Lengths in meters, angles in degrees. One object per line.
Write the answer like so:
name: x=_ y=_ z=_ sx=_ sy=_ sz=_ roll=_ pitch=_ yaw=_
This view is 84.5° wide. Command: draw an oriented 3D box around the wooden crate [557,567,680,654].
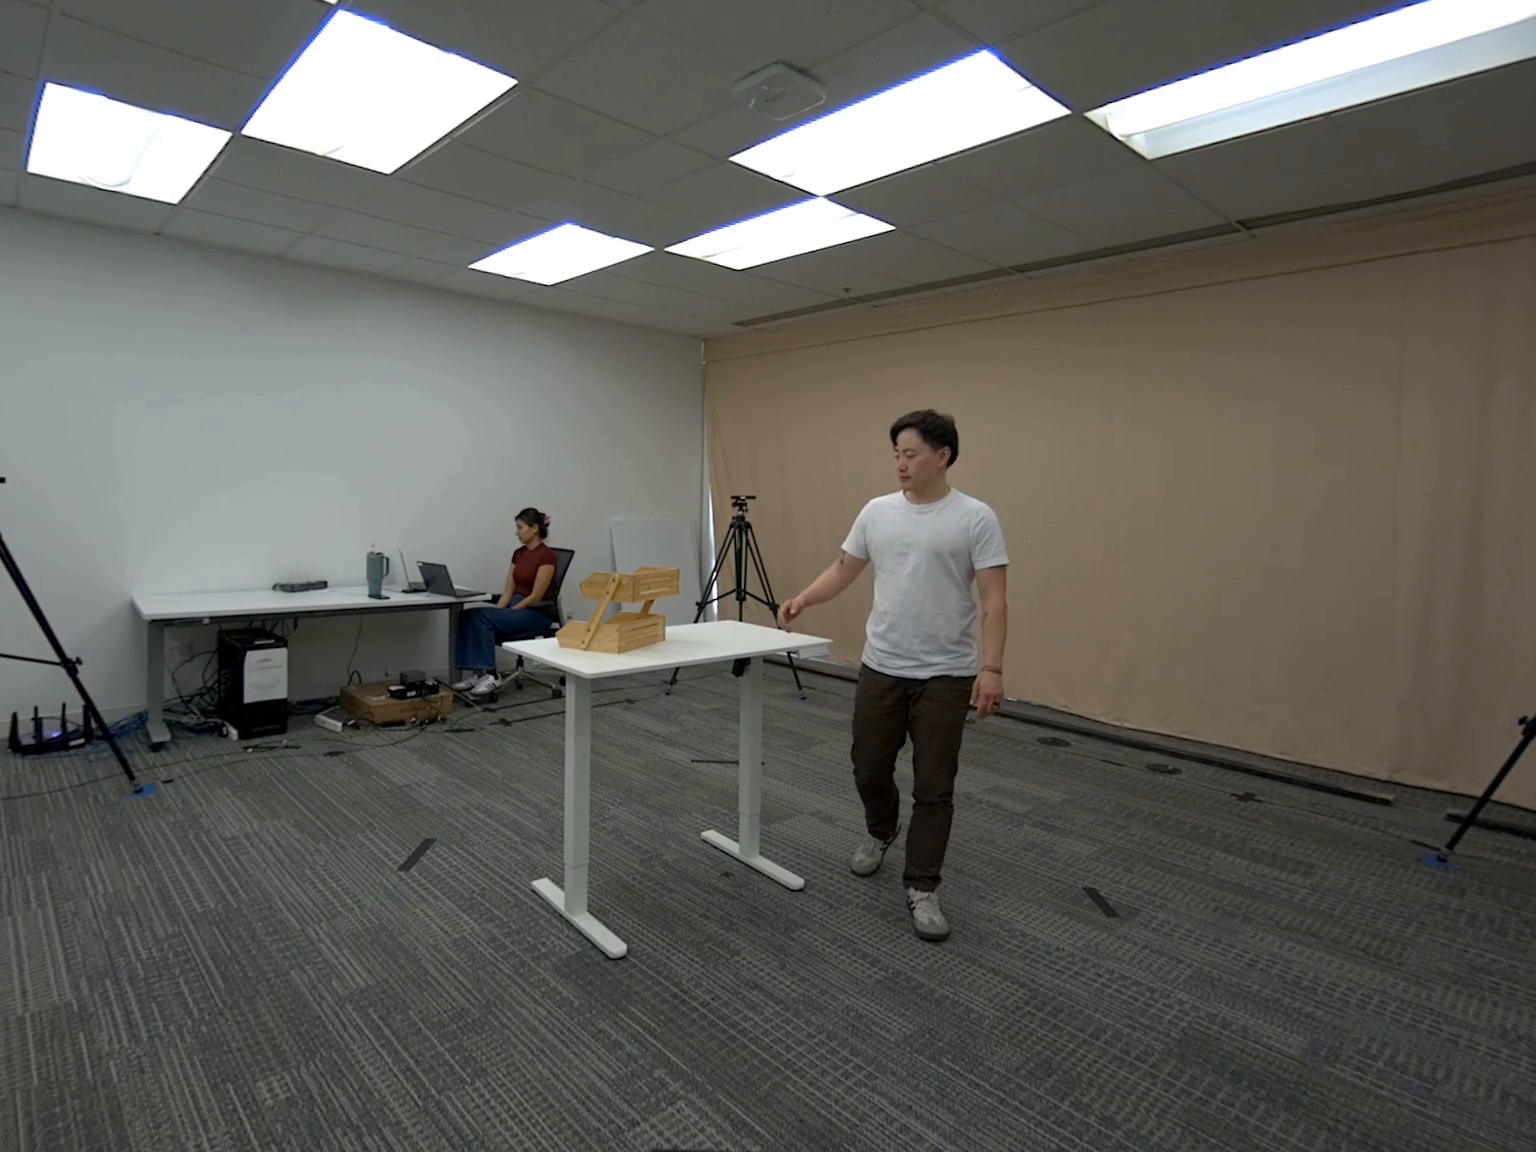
wooden crate: x=-0.512 y=0.102 z=2.868 sx=0.308 sy=0.272 sz=0.319 roll=4 pitch=5 yaw=24
